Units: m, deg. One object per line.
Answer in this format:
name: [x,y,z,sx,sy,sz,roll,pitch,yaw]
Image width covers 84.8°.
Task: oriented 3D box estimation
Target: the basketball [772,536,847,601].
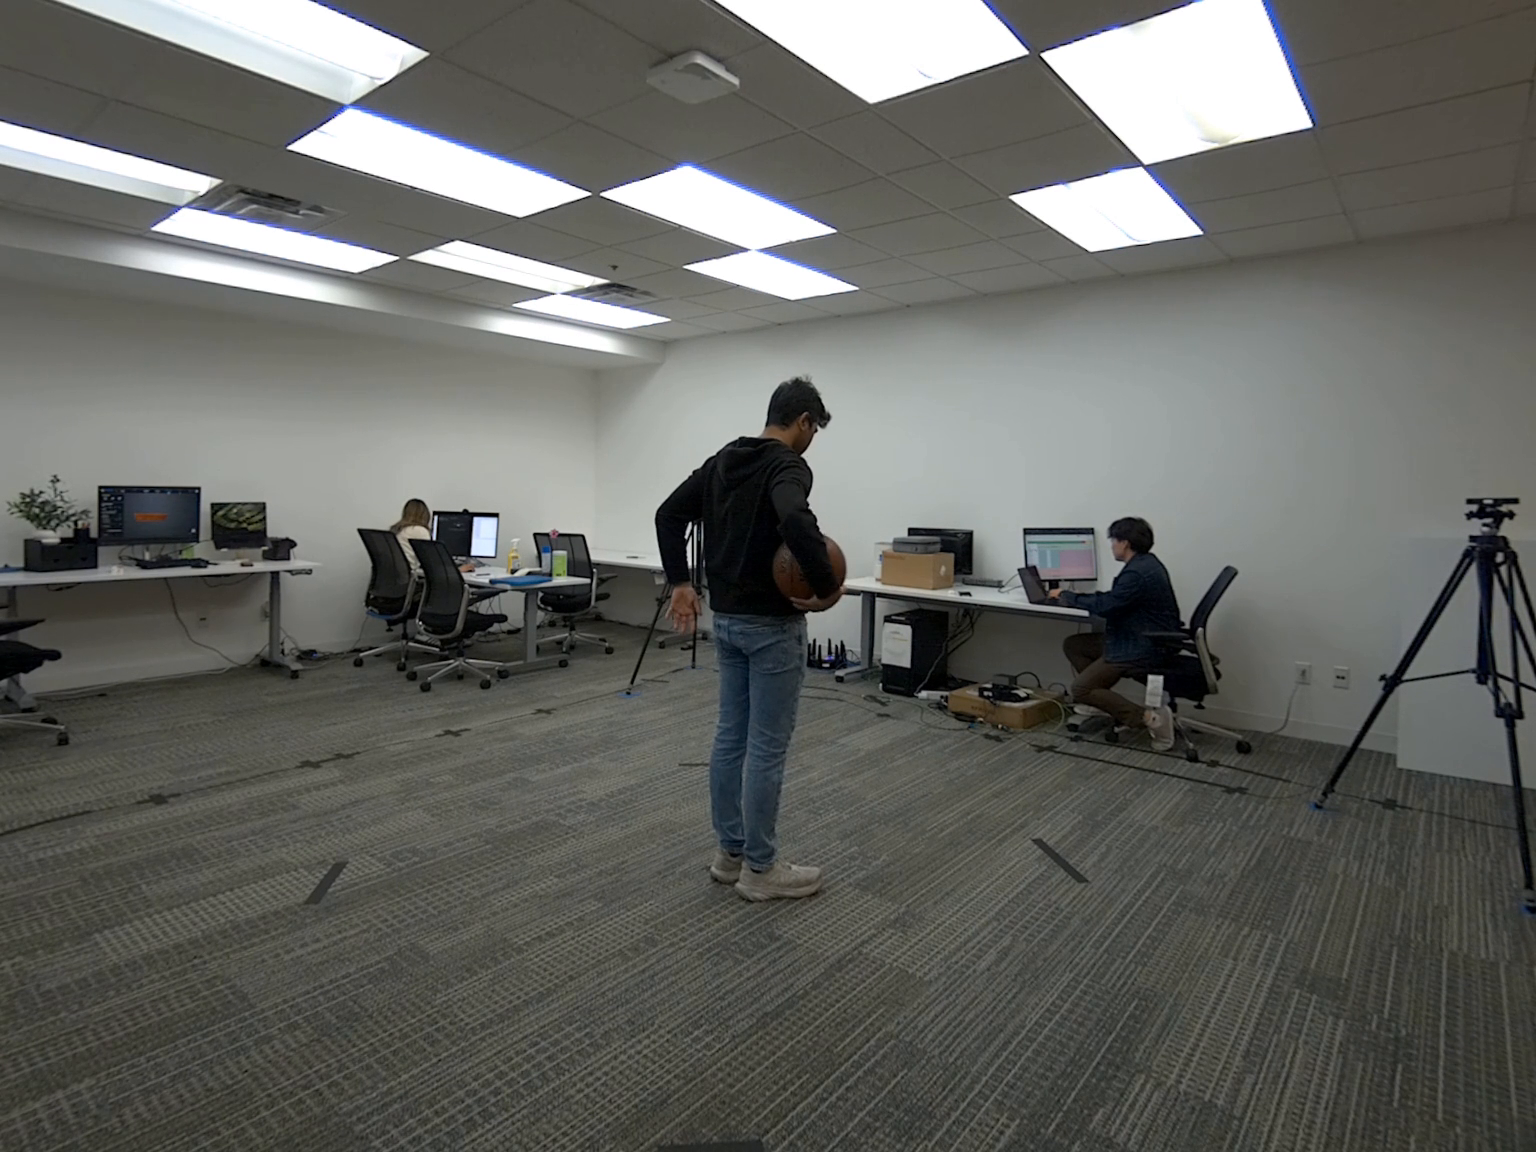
basketball: [0.136,-0.034,2.754,0.235,0.235,0.237,1,4,-2]
